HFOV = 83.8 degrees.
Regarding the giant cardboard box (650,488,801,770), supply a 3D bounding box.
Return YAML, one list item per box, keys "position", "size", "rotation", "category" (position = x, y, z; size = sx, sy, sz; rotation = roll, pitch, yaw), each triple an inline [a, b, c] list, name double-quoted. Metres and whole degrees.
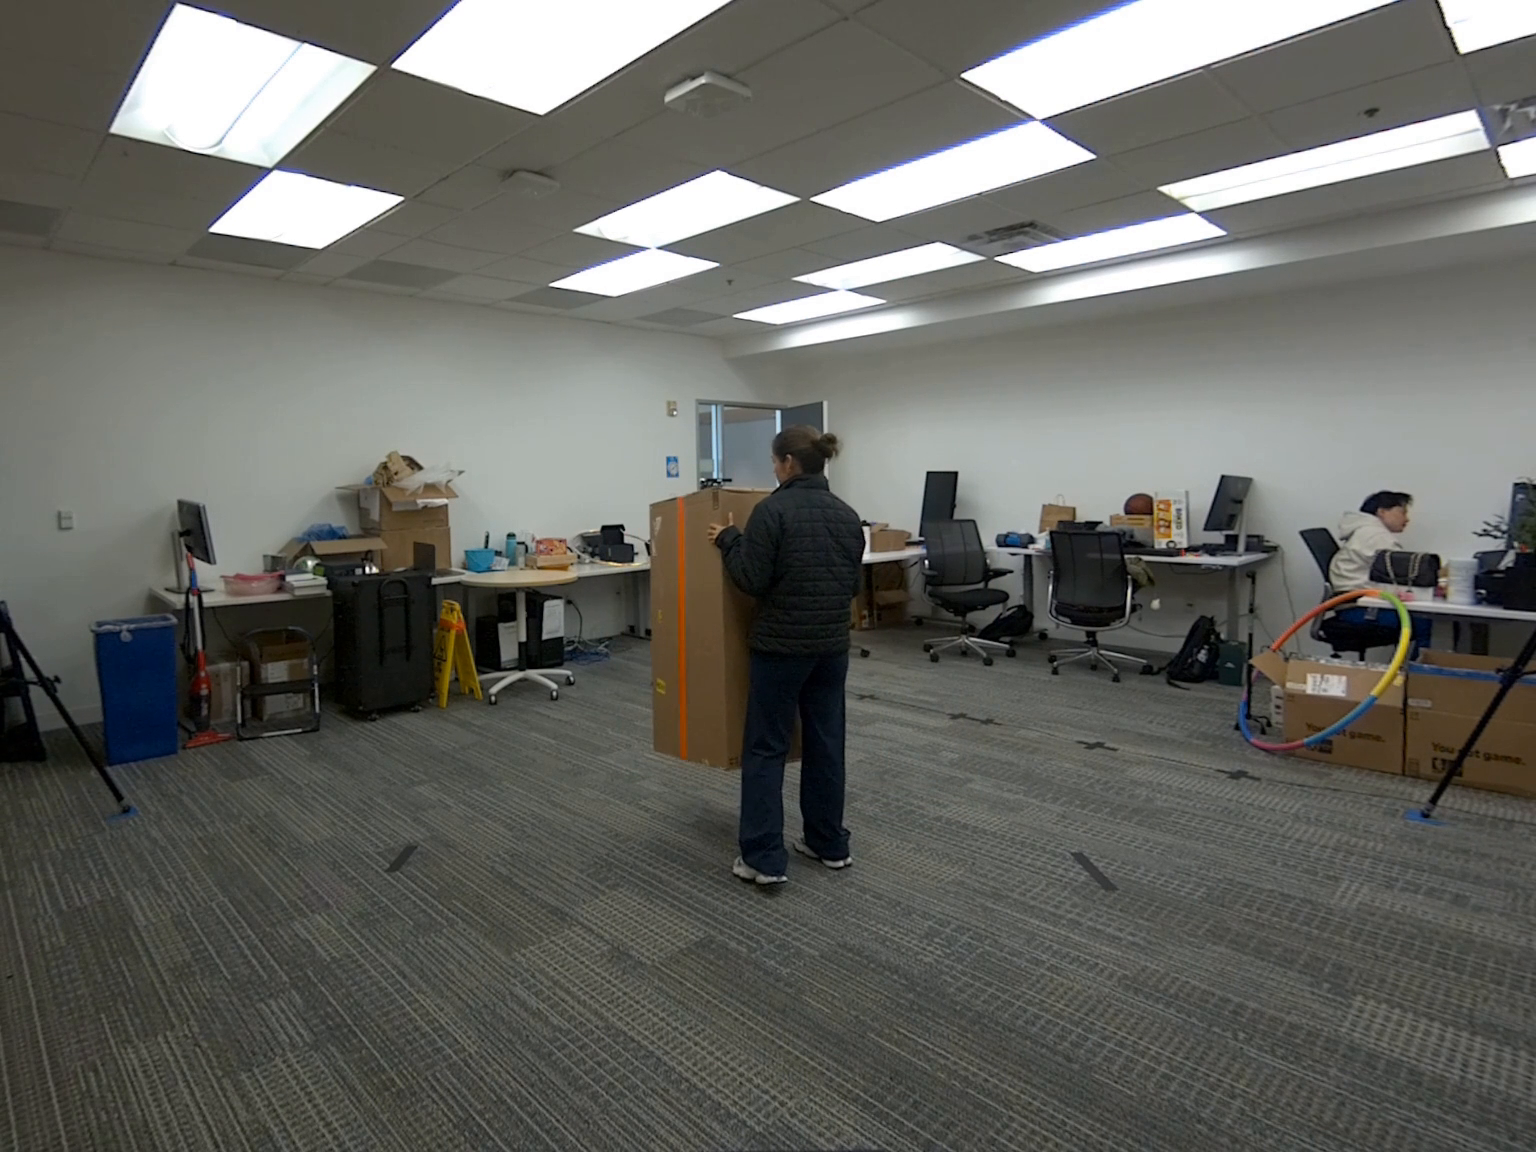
- position: [-0.163, 0.200, 3.432]
  size: [0.415, 1.031, 0.590]
  rotation: [2, -6, -33]
  category: "giant cardboard box"
